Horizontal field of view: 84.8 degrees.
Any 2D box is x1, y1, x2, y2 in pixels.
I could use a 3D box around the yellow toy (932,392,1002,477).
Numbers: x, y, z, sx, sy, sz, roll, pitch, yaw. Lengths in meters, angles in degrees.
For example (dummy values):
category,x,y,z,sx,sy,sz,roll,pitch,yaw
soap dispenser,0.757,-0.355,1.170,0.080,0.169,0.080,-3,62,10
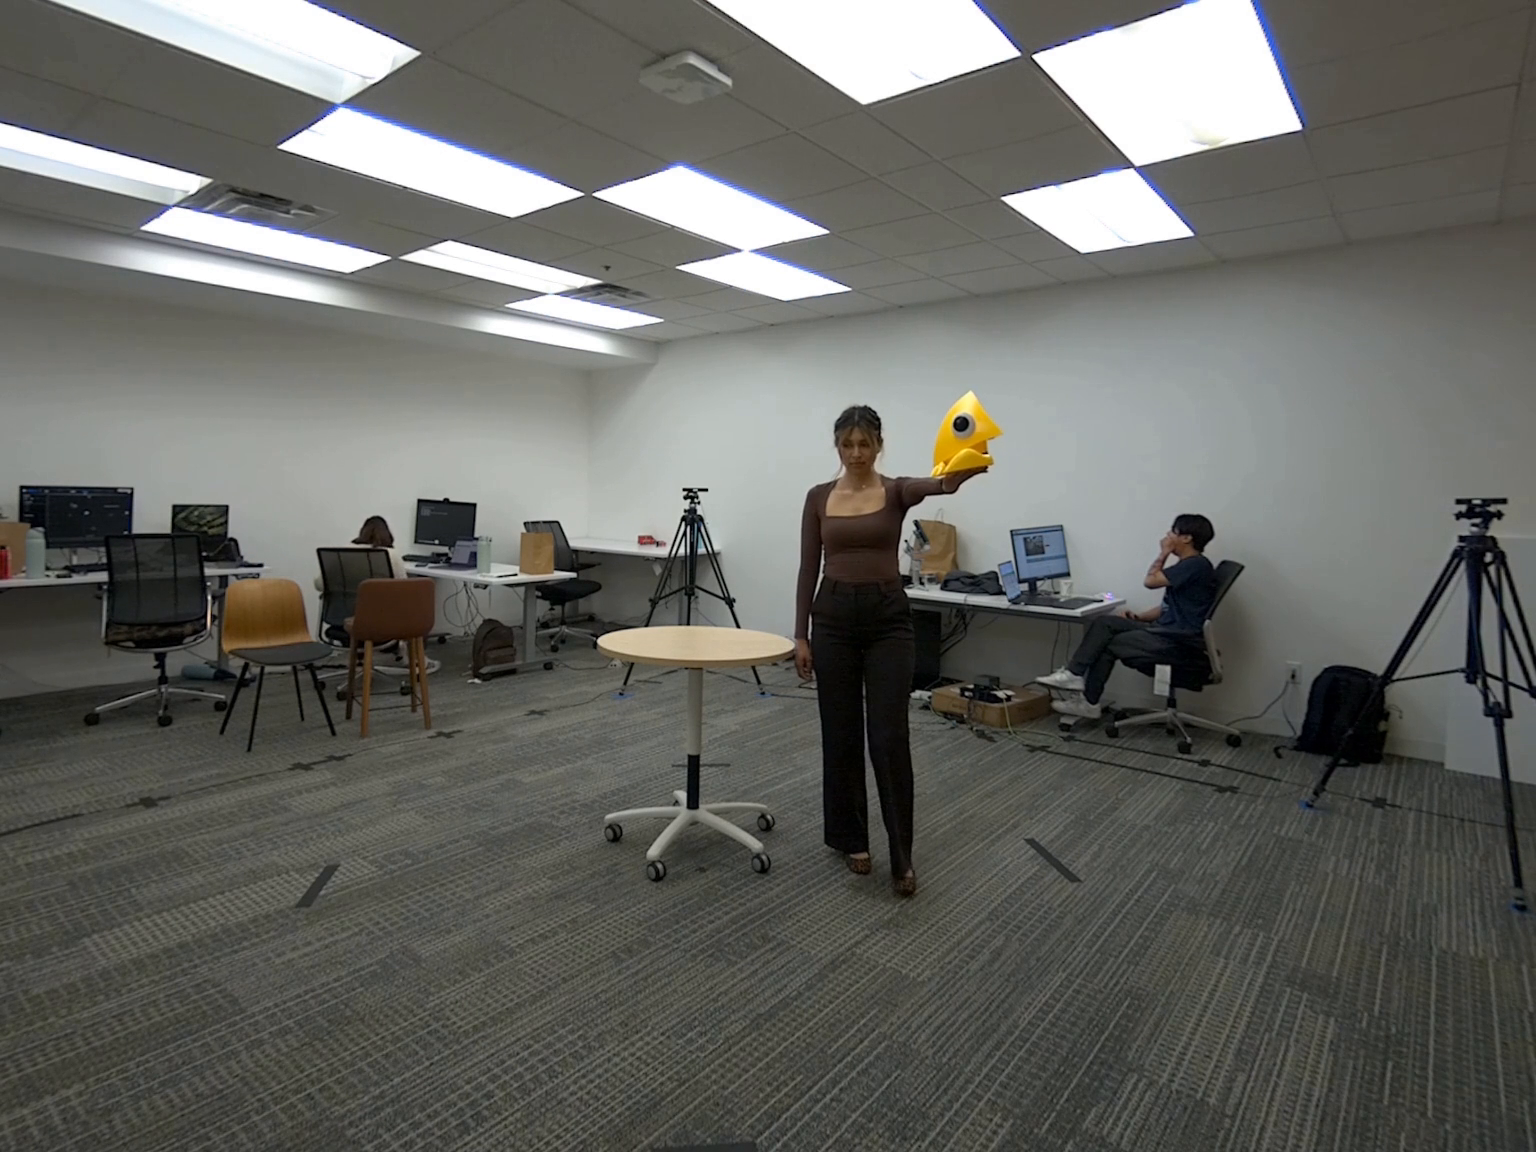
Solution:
category,x,y,z,sx,sy,sz,roll,pitch,yaw
yellow toy,0.567,-0.434,2.535,0.192,0.231,0.206,-10,0,-6
